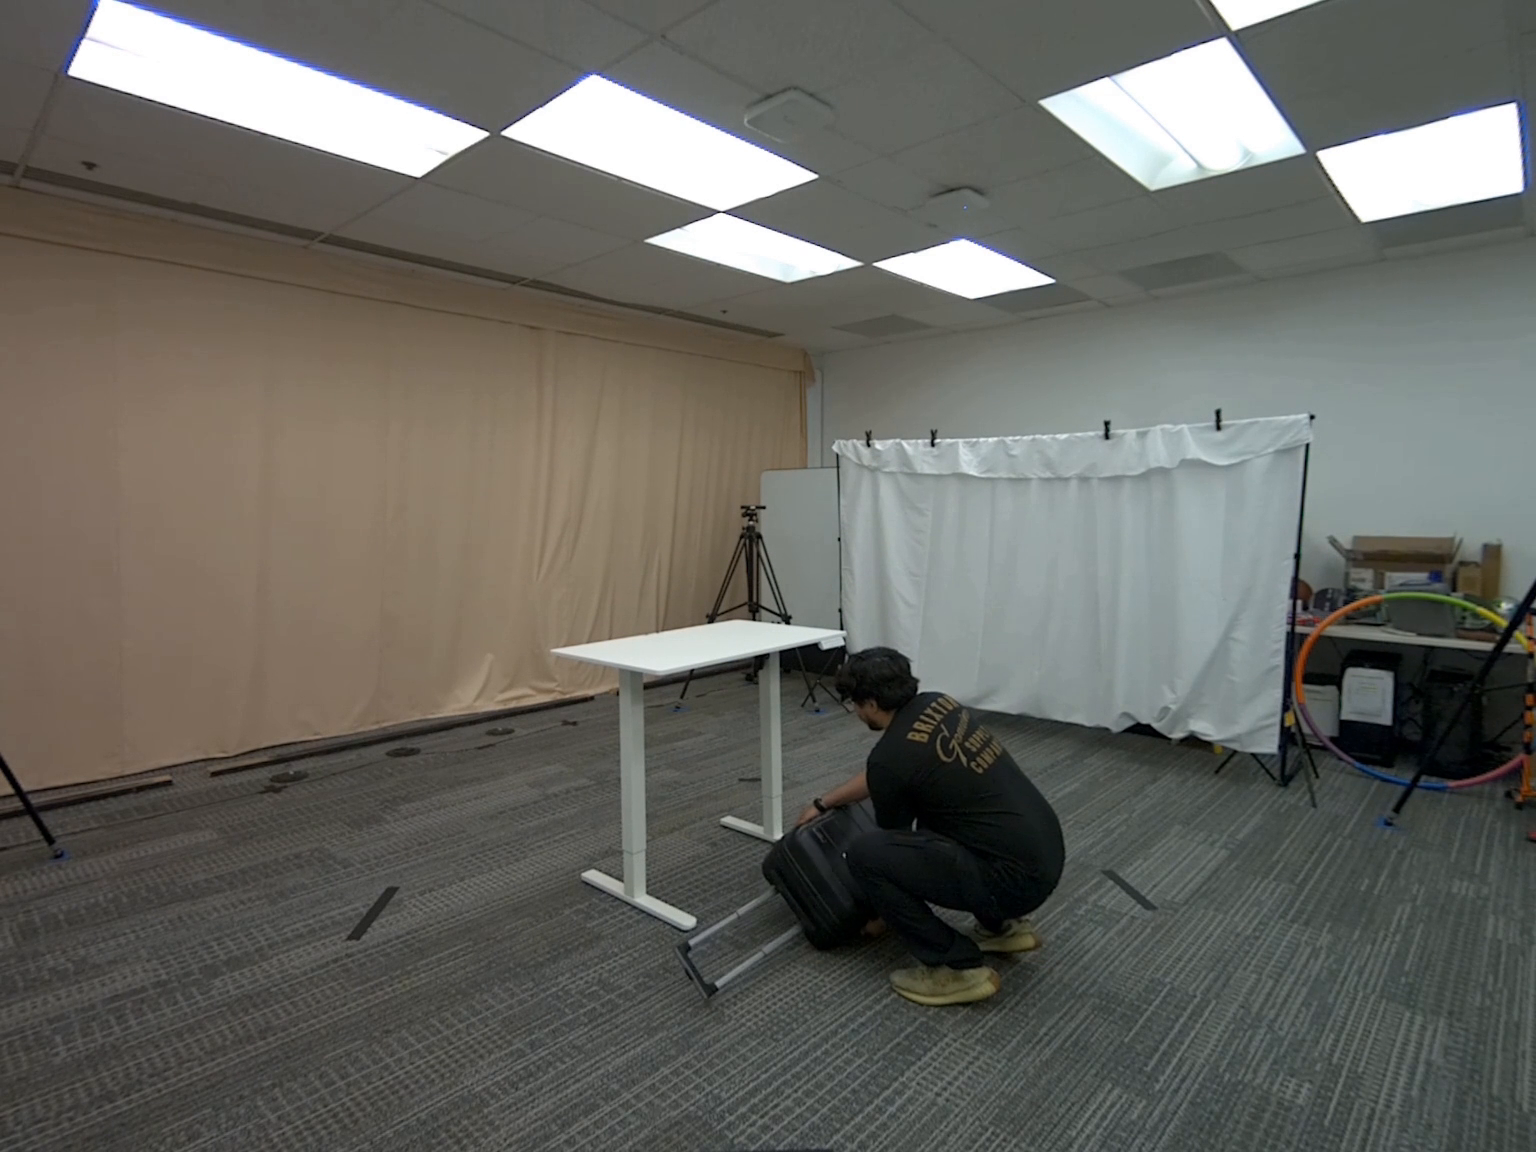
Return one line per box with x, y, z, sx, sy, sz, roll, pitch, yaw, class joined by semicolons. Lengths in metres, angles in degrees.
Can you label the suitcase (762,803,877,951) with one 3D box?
0.145;0.979;2.665;0.949;0.258;0.395;-4;47;-51;suitcase
